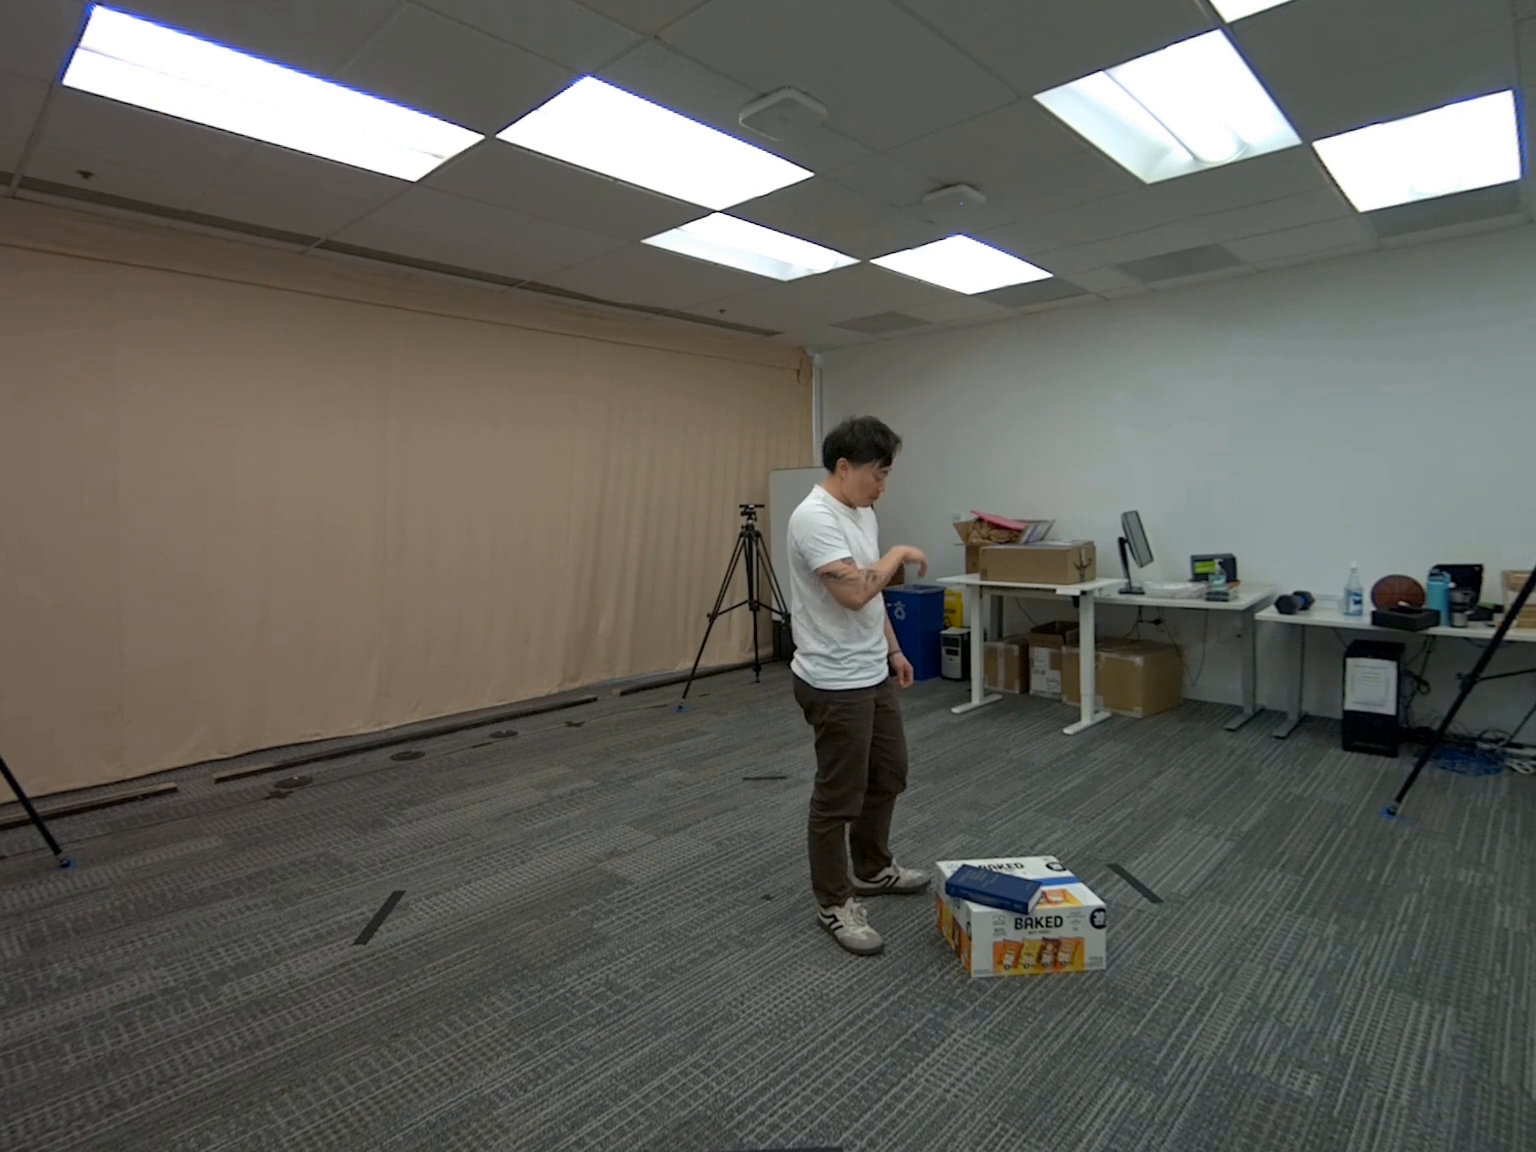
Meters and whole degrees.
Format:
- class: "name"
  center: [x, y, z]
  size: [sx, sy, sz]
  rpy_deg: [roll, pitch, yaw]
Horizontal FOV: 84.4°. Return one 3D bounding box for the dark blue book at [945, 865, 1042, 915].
- class: "dark blue book"
  center: [0.689, 0.943, 2.544]
  size: [0.252, 0.045, 0.159]
  rpy_deg: [2, 4, 33]
